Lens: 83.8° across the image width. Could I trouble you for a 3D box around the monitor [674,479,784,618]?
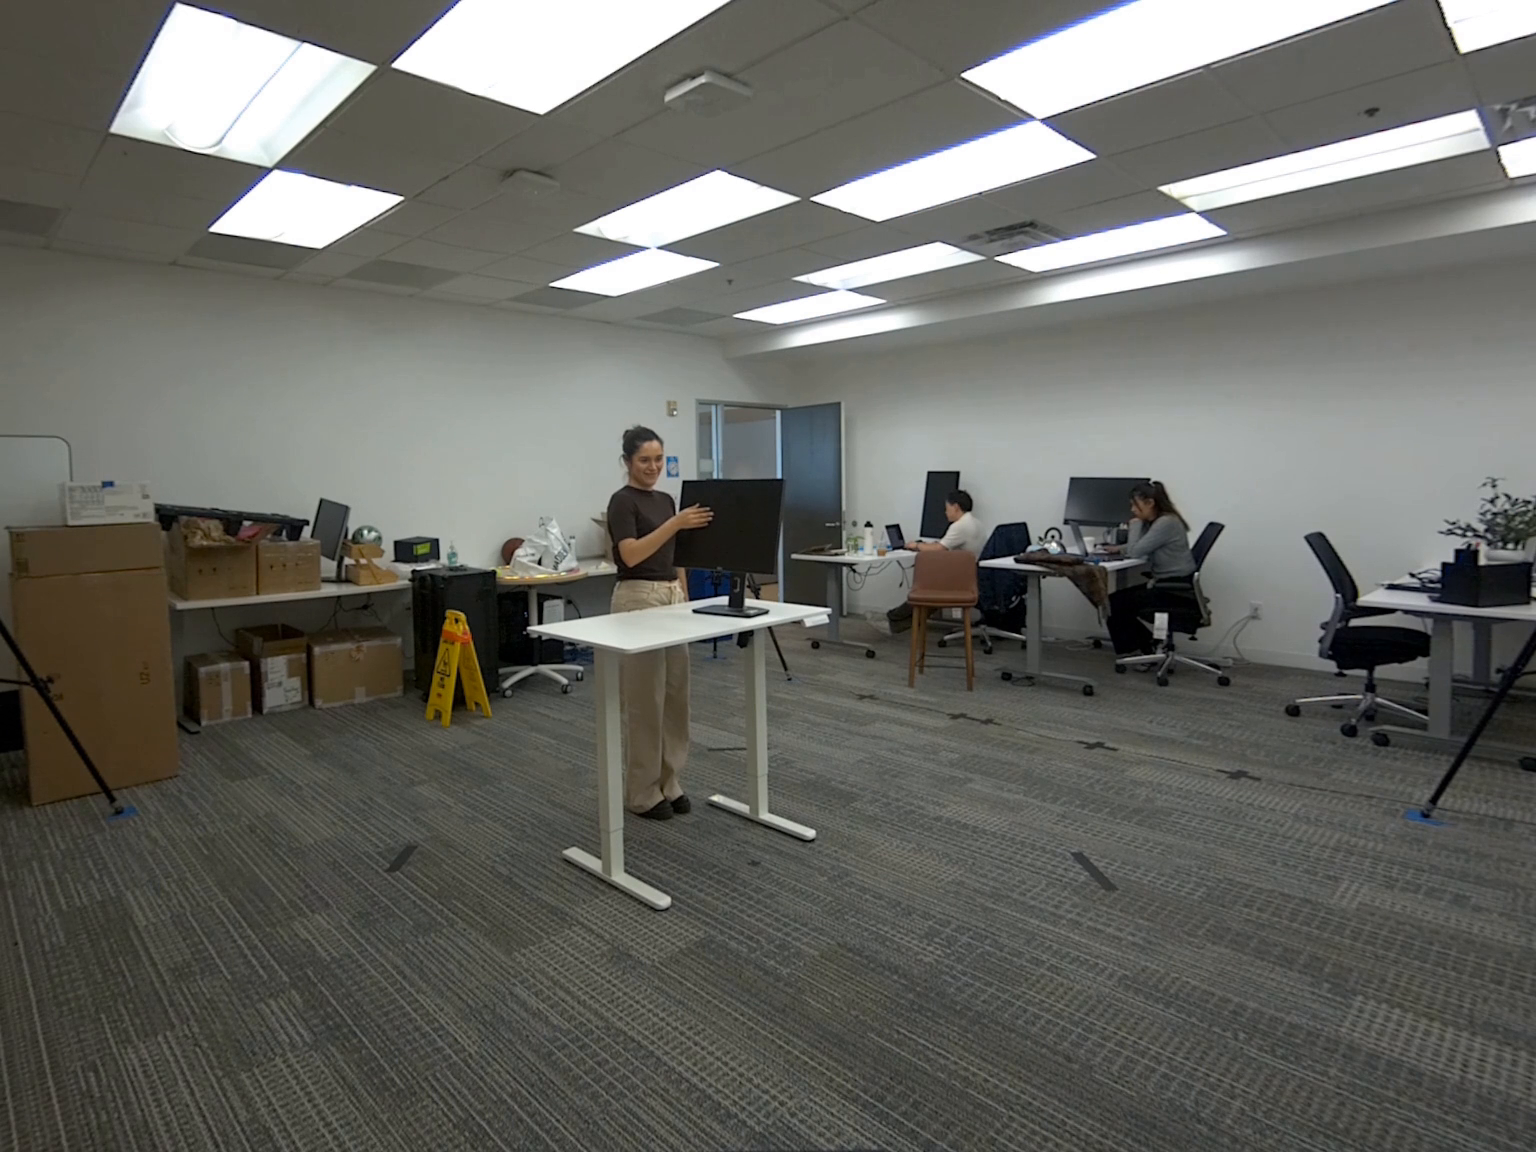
[{"bbox_3d":[-0.141,-0.109,3.280,0.556,0.520,0.182,4,6,43],"label":"monitor"}]
